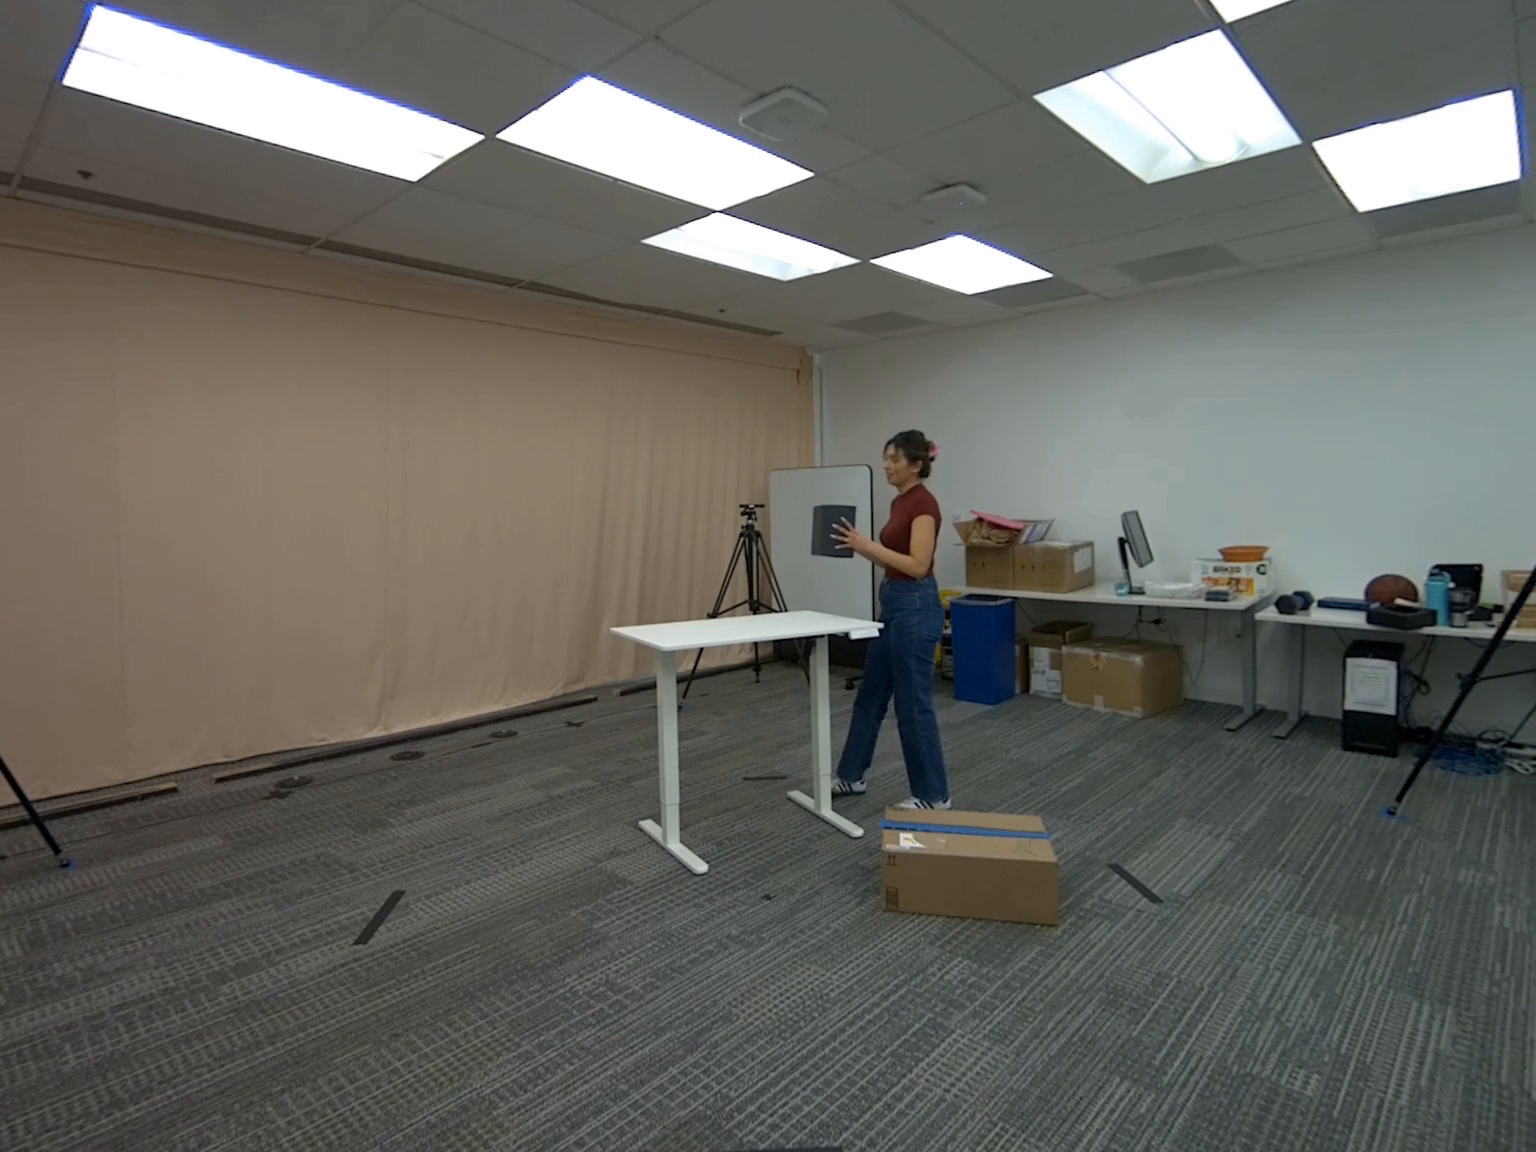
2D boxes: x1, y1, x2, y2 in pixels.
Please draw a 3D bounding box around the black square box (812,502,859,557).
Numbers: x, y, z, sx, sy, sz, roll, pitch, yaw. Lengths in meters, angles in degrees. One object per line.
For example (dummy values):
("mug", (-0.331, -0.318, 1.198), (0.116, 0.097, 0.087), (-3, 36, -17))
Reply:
("black square box", (0.298, -0.209, 3.805), (0.155, 0.228, 0.218), (2, 0, -5))
